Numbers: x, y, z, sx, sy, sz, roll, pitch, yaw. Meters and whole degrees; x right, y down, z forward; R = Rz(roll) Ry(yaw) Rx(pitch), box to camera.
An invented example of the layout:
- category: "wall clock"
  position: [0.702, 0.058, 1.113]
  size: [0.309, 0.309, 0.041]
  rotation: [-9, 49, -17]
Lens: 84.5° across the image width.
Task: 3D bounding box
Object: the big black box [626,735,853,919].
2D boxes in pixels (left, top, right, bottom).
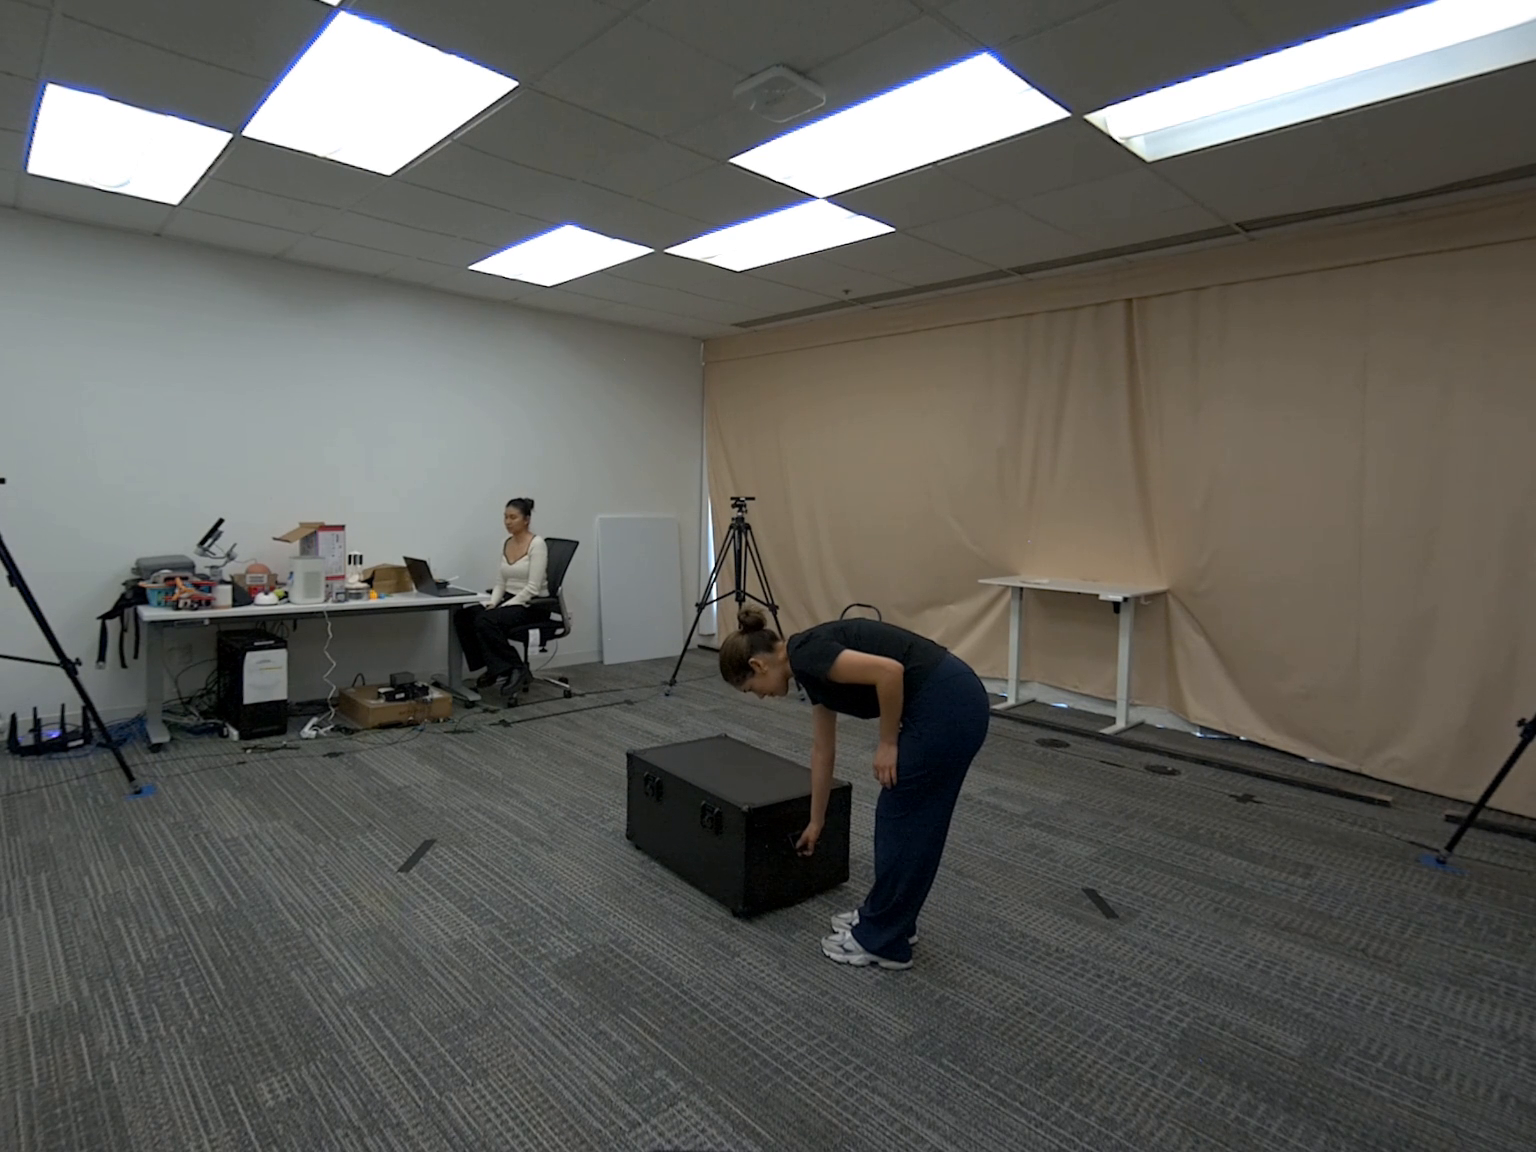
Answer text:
- category: "big black box"
  position: [-0.124, 0.914, 3.158]
  size: [0.510, 0.395, 0.883]
  rotation: [-2, 6, -38]
